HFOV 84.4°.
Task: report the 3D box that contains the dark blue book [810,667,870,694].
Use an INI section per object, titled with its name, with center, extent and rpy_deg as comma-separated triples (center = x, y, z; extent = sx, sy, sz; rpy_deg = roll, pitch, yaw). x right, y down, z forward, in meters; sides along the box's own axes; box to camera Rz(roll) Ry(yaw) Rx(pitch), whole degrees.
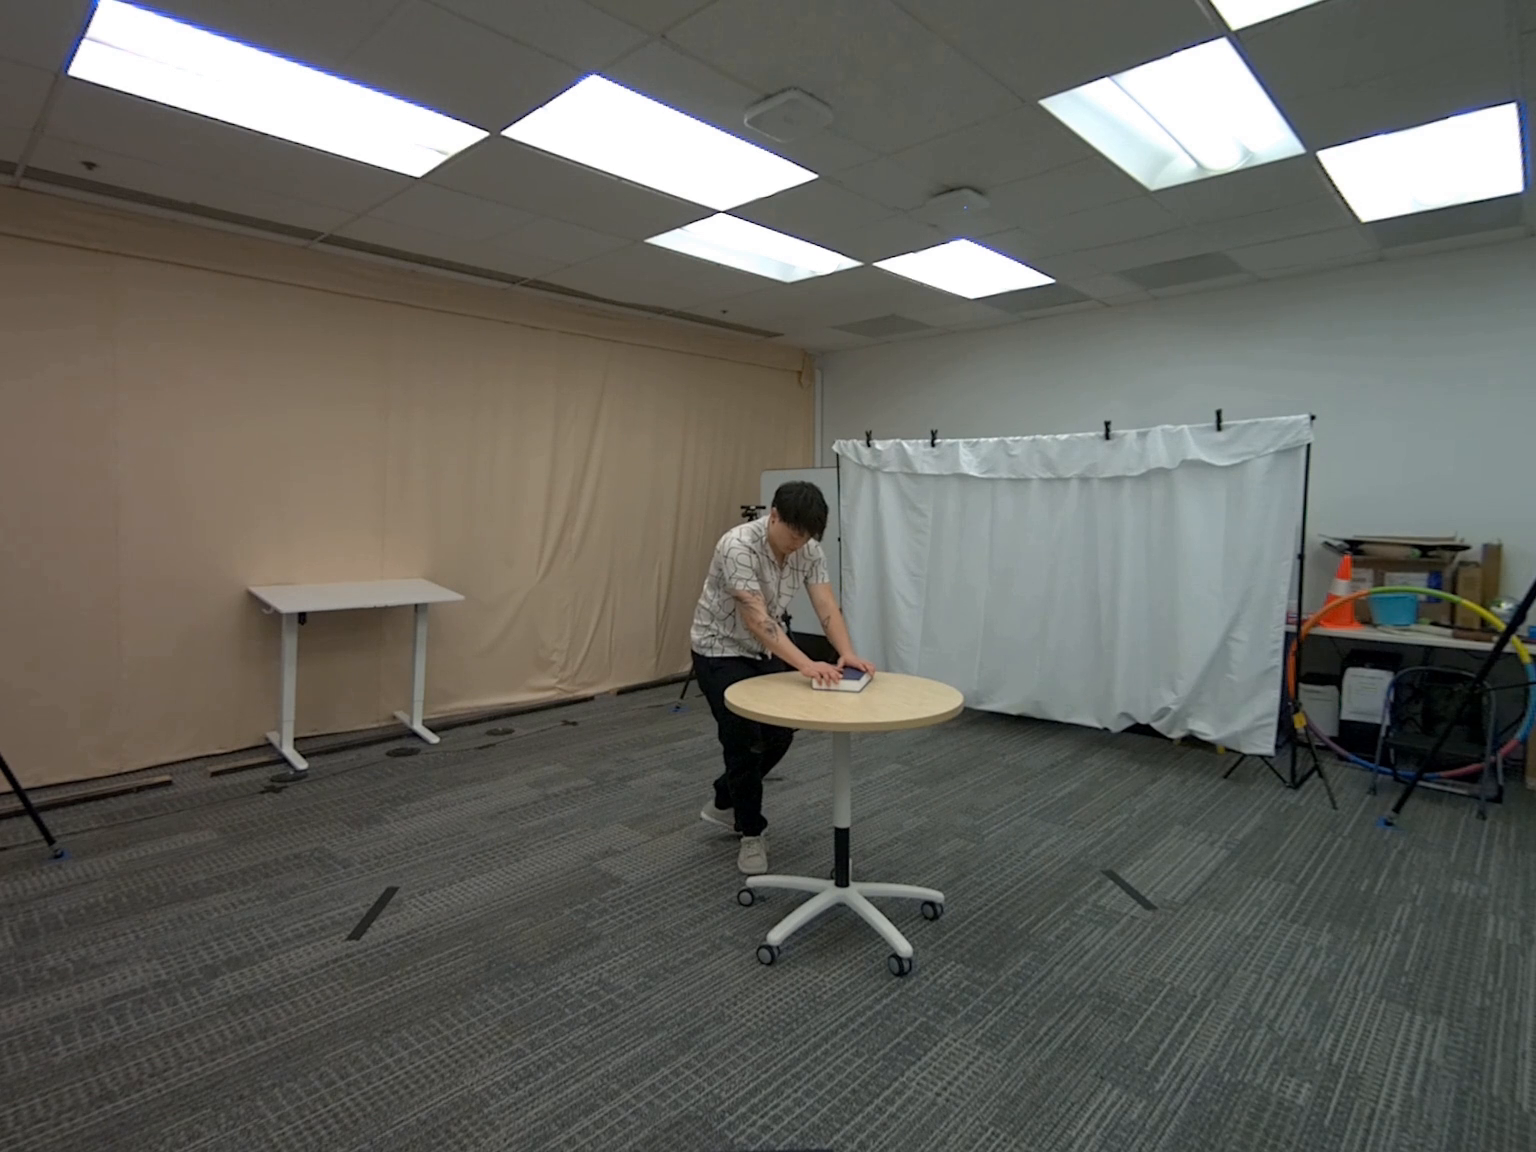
[dark blue book]
center = 0.264, 0.353, 2.883
extent = 0.166, 0.045, 0.241
rpy_deg = 0, 4, 17
